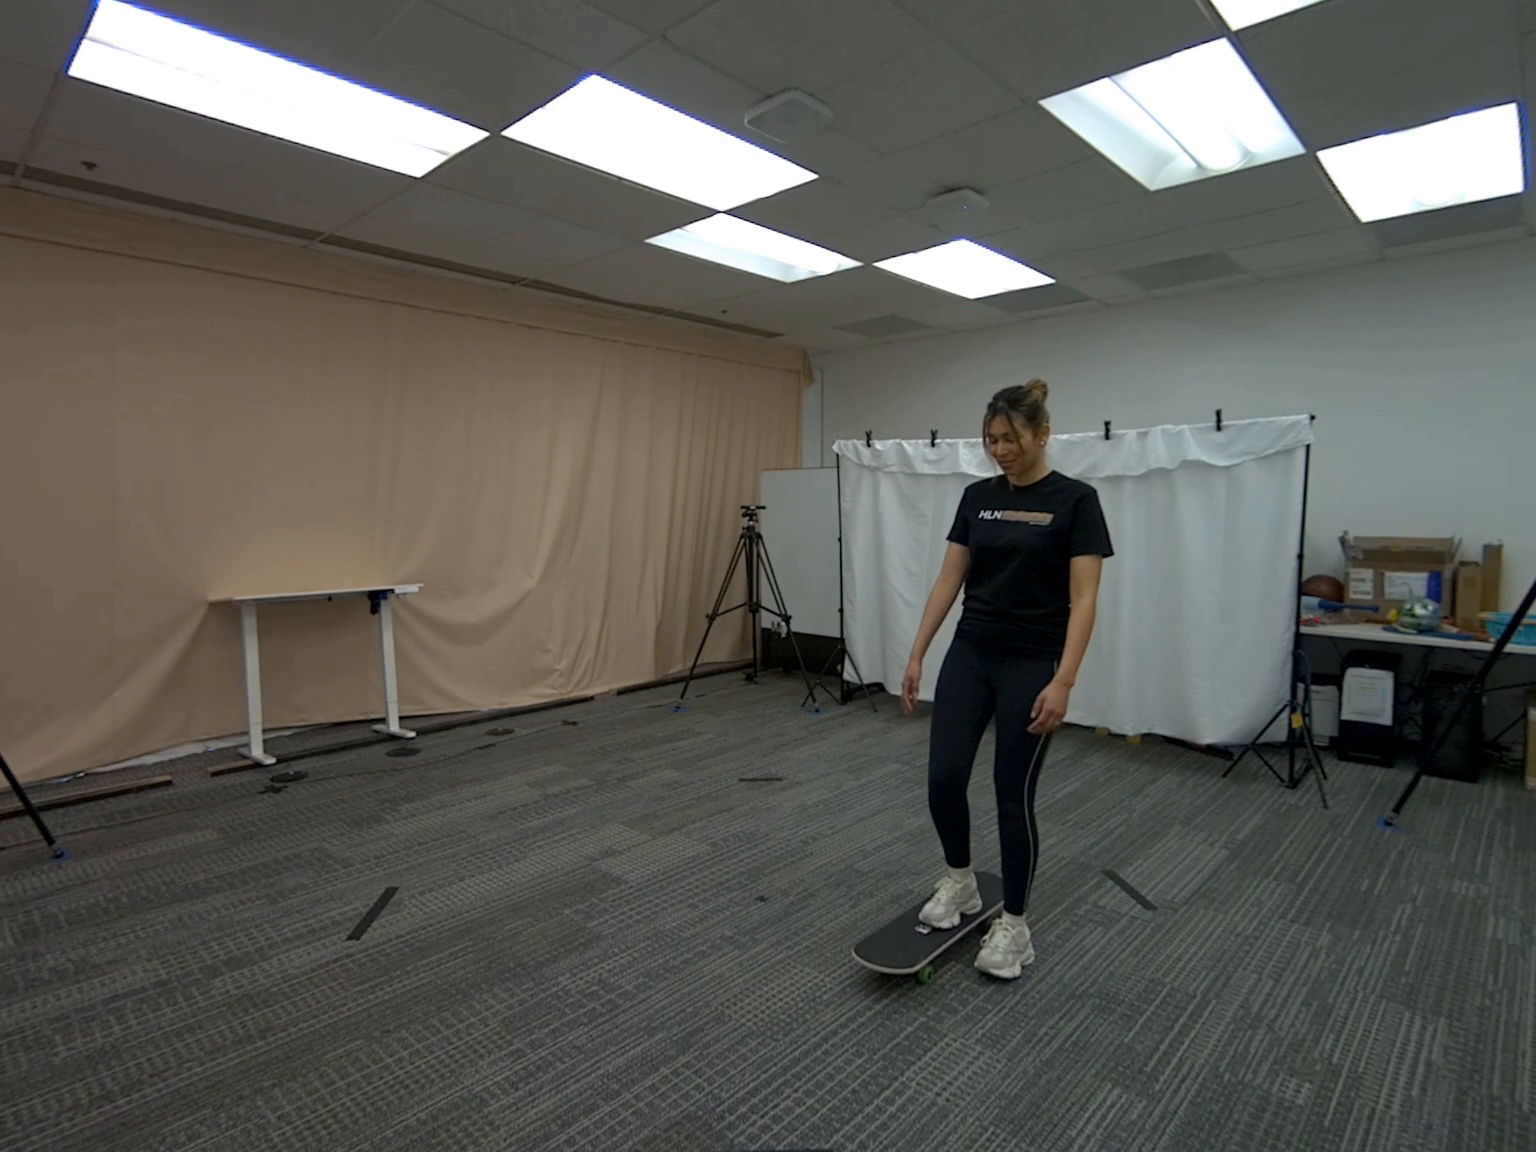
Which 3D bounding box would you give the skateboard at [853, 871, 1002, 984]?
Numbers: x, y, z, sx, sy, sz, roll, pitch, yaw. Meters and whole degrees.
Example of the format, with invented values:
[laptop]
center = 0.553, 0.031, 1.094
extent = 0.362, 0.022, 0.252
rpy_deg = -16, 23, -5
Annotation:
[skateboard]
center = 0.537, 1.119, 2.645
extent = 0.200, 0.110, 0.761
rpy_deg = 4, 6, 42
